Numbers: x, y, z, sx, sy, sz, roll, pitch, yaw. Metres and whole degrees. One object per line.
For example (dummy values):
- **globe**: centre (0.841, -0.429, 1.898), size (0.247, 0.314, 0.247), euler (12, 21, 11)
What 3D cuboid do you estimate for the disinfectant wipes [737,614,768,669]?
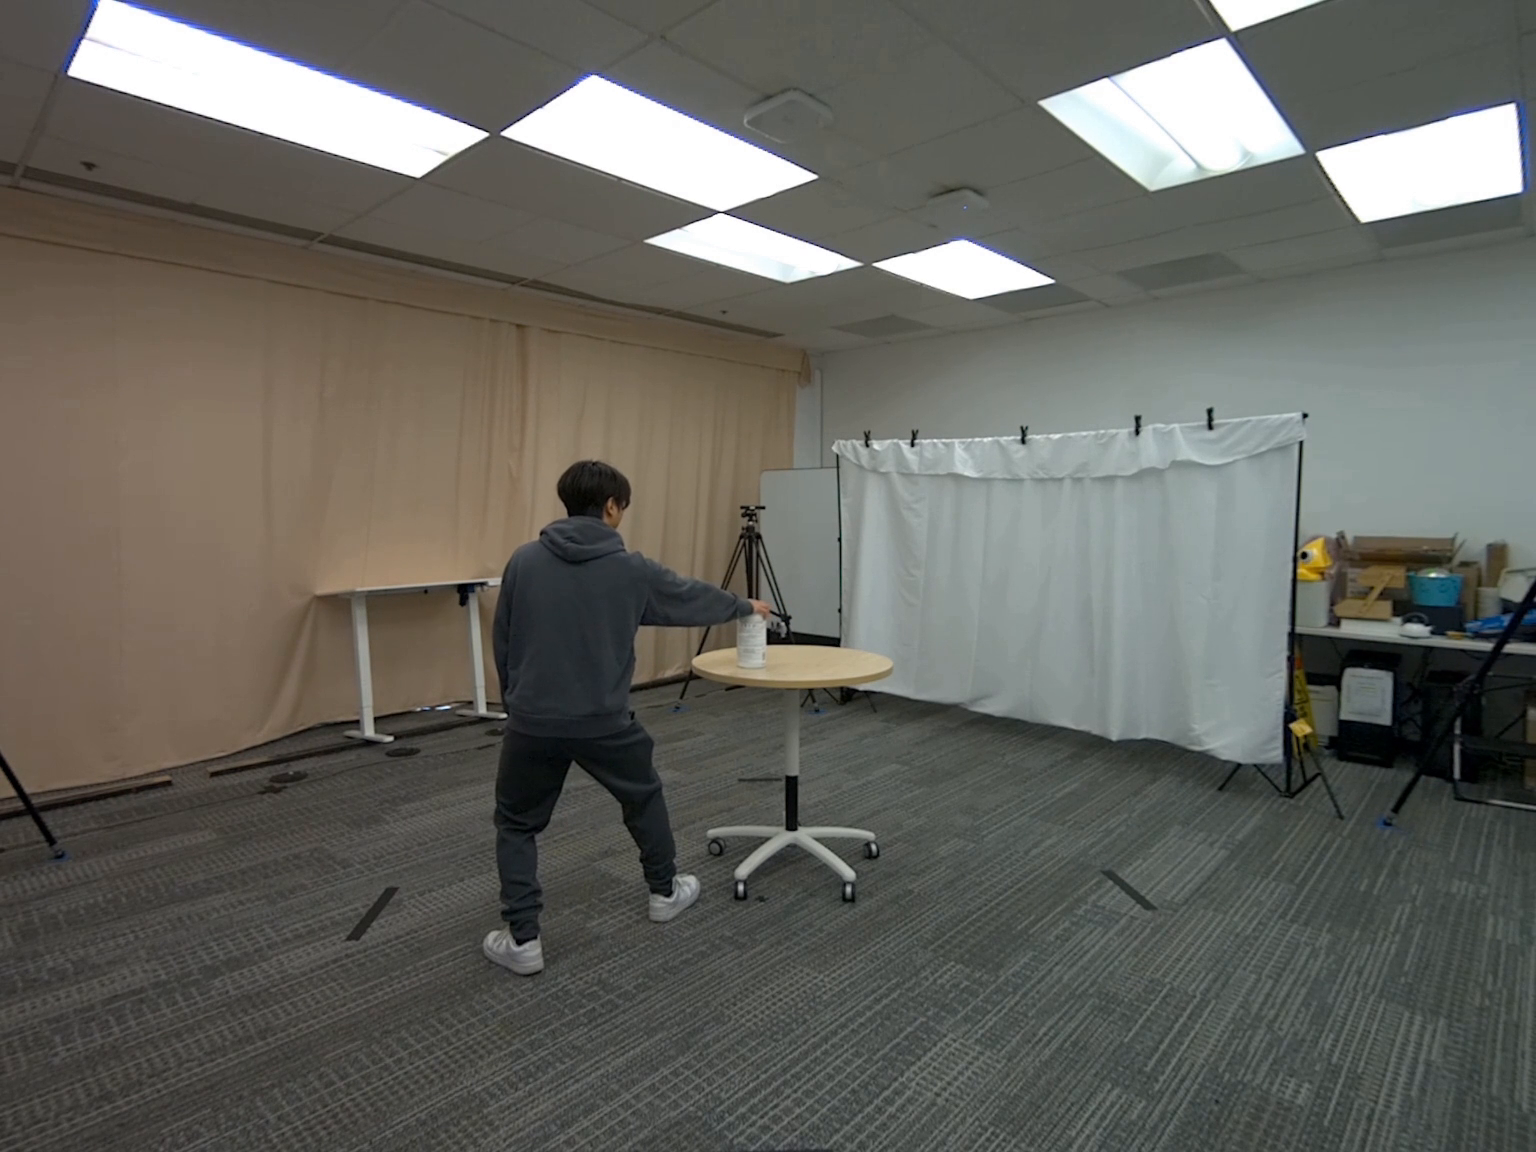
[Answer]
- **disinfectant wipes**: centre (-0.051, 0.229, 3.116), size (0.118, 0.217, 0.118), euler (0, 5, -2)
